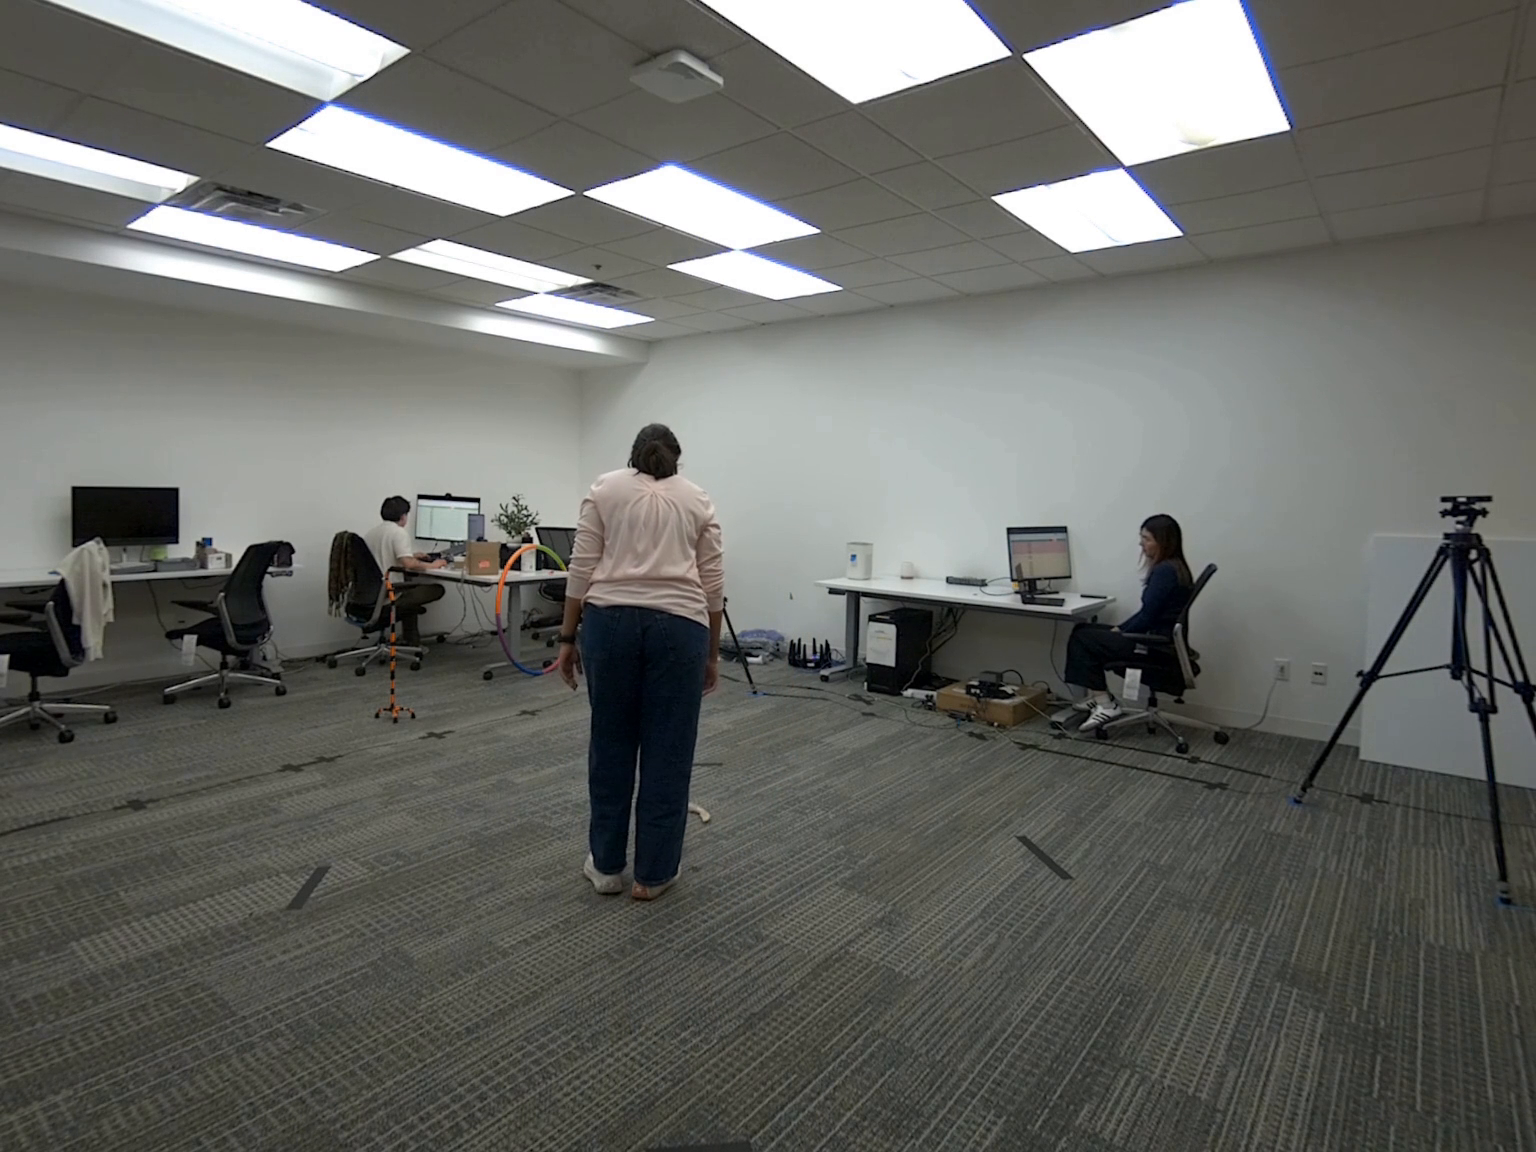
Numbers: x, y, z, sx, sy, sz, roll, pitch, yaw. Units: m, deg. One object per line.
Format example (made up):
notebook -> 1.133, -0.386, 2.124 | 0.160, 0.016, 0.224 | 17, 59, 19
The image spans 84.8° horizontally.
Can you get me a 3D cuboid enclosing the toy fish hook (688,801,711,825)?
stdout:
toy fish hook -> -0.343, 1.001, 3.448 | 0.223, 0.048, 0.513 | -1, 6, -9
